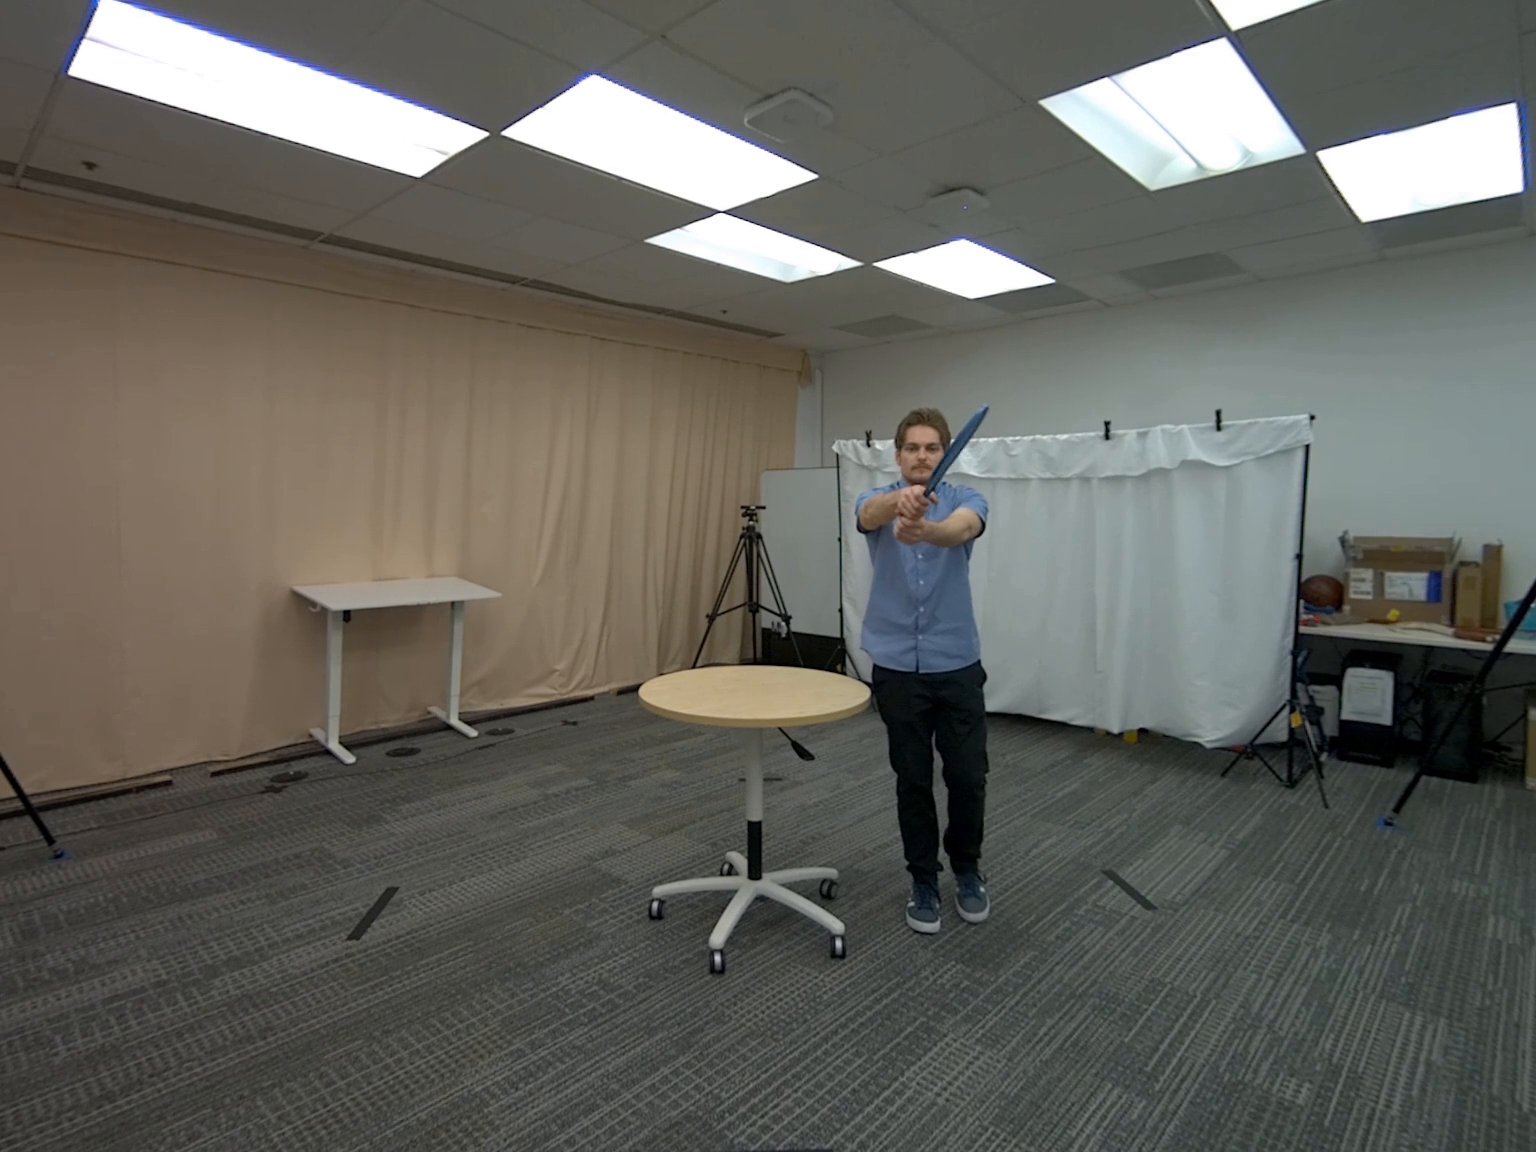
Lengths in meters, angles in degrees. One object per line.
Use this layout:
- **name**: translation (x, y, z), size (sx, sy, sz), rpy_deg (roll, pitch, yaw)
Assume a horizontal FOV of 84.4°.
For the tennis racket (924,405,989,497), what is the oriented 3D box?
- **tennis racket**: translation (0.455, -0.264, 2.187), size (0.032, 0.431, 0.211), rpy_deg (35, 43, 11)
